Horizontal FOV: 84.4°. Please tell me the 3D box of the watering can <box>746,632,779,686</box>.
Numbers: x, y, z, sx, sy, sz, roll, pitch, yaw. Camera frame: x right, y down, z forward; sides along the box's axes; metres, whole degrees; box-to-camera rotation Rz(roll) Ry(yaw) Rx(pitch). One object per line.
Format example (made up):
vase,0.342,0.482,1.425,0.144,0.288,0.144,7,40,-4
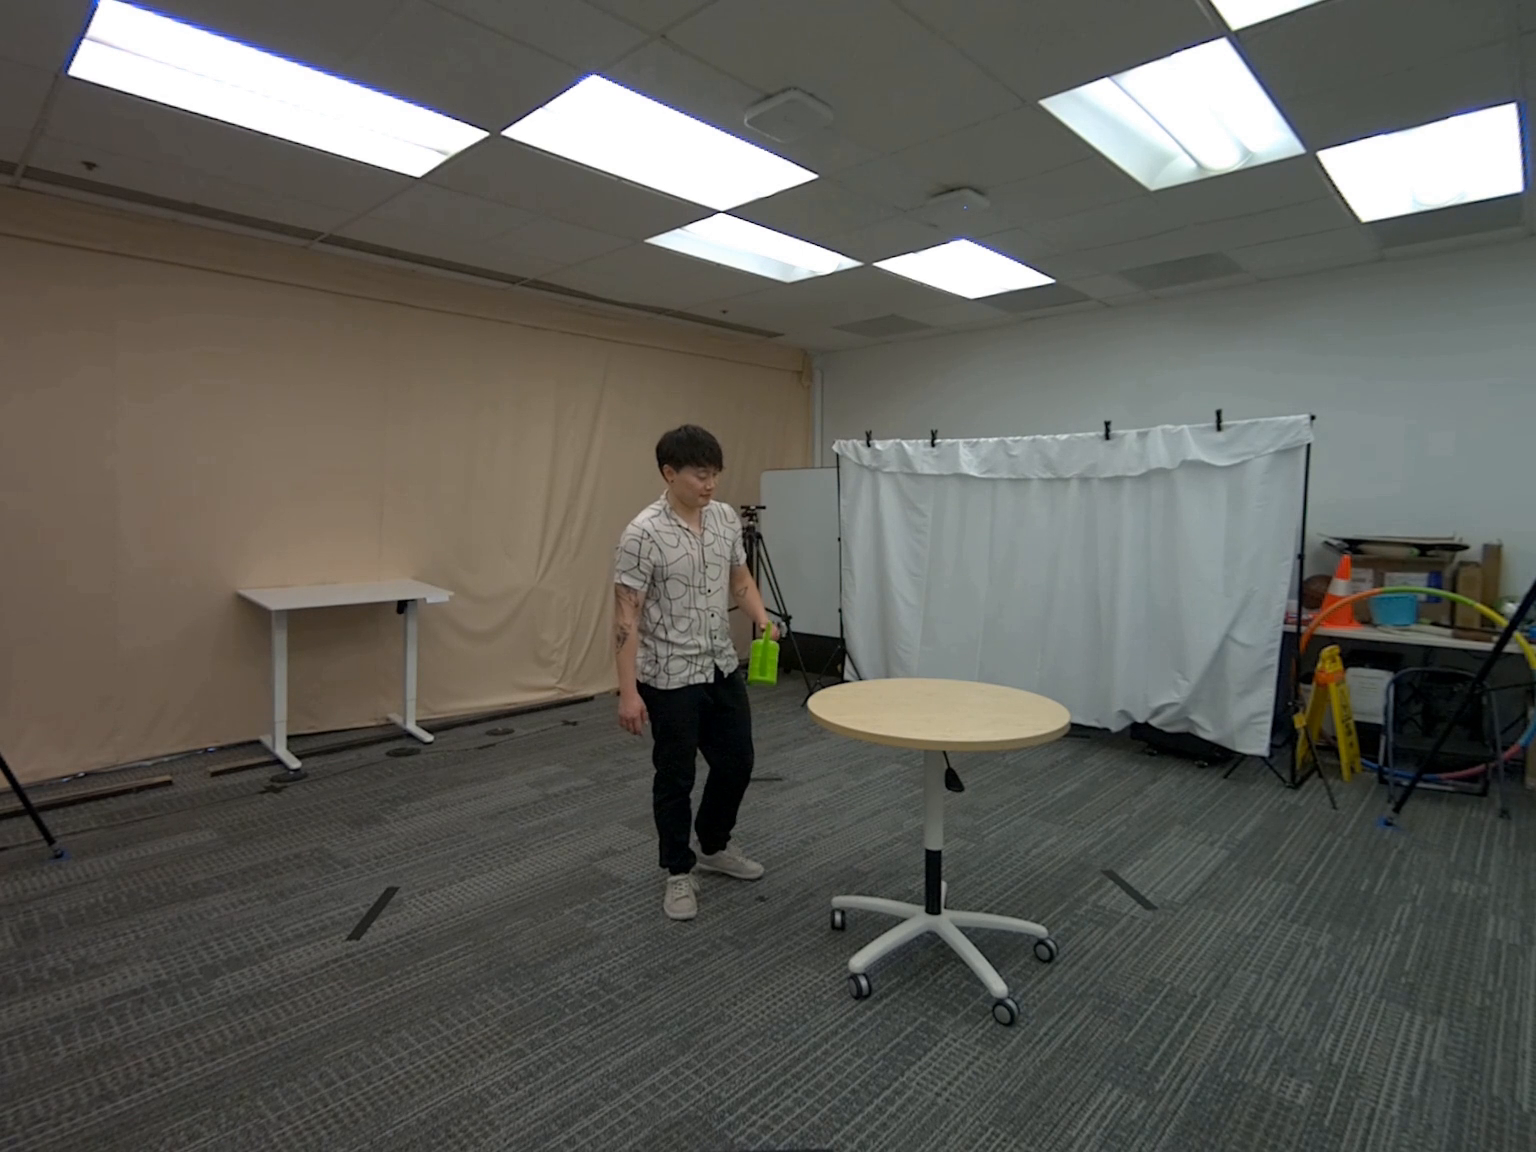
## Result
watering can,-0.021,0.264,2.741,0.099,0.178,0.272,3,-17,10
